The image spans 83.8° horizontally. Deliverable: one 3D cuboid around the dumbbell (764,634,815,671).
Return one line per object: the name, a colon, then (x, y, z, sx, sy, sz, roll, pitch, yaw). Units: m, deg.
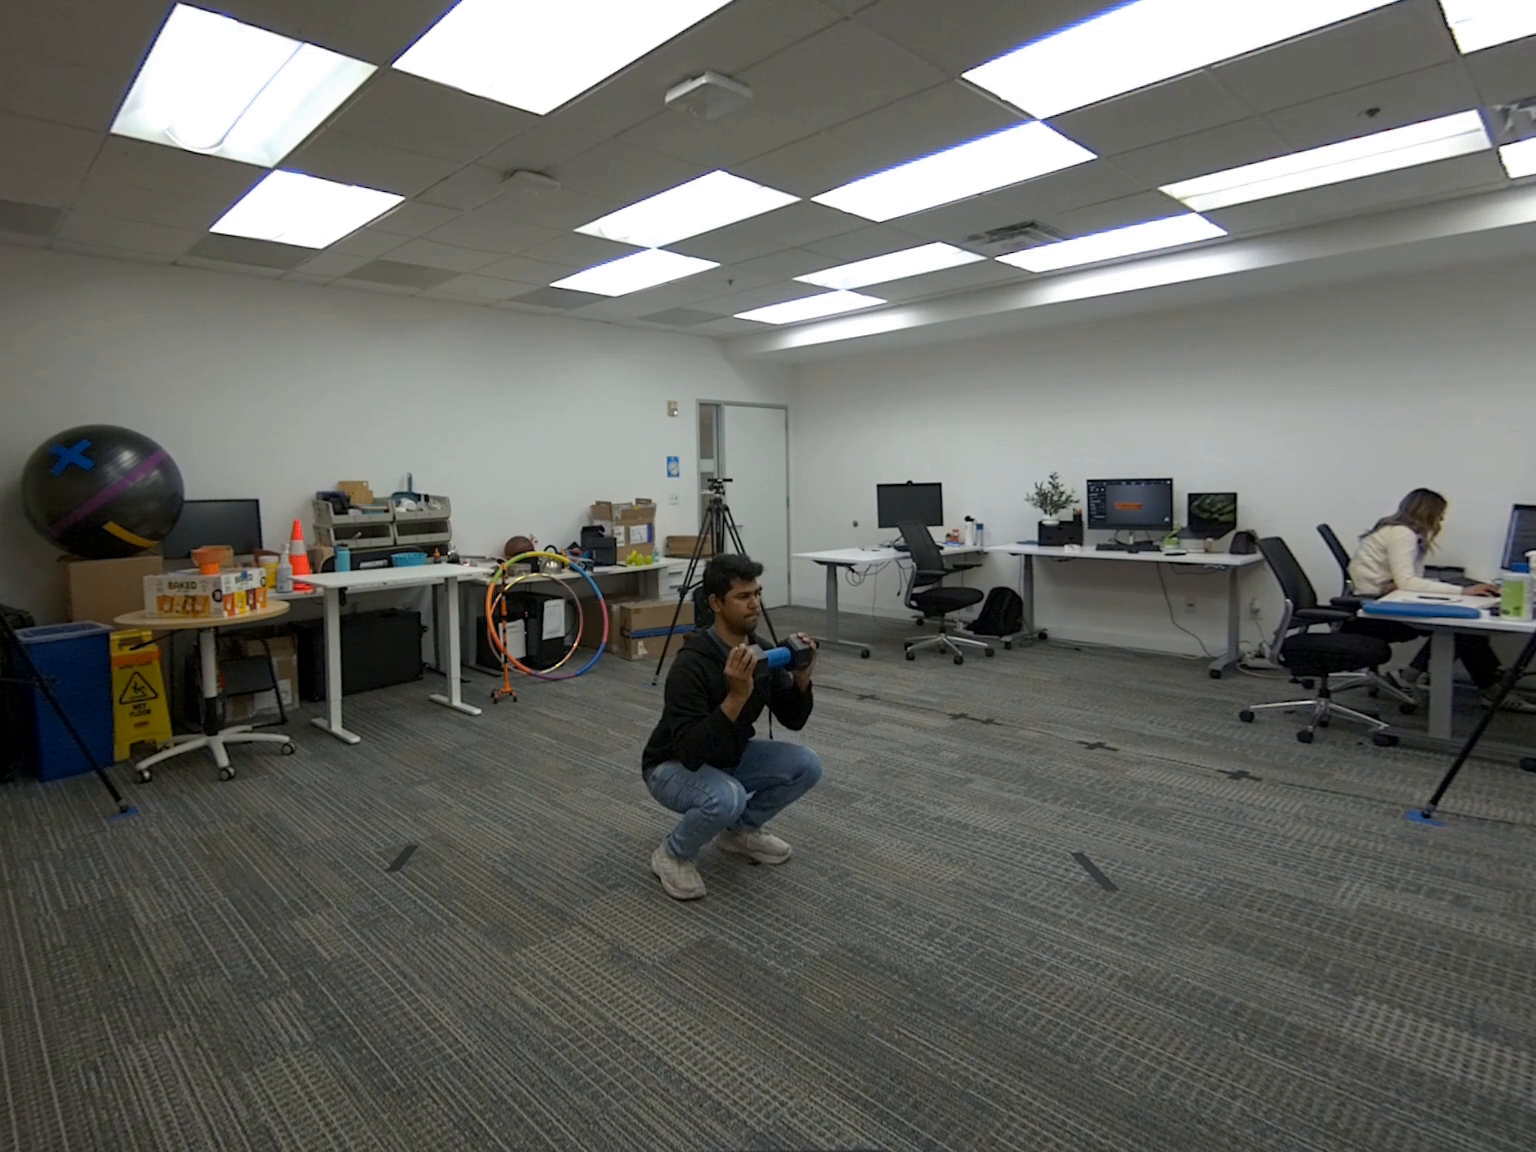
dumbbell: (0.010, 0.257, 2.855, 0.286, 0.122, 0.112, -6, 12, -44)
